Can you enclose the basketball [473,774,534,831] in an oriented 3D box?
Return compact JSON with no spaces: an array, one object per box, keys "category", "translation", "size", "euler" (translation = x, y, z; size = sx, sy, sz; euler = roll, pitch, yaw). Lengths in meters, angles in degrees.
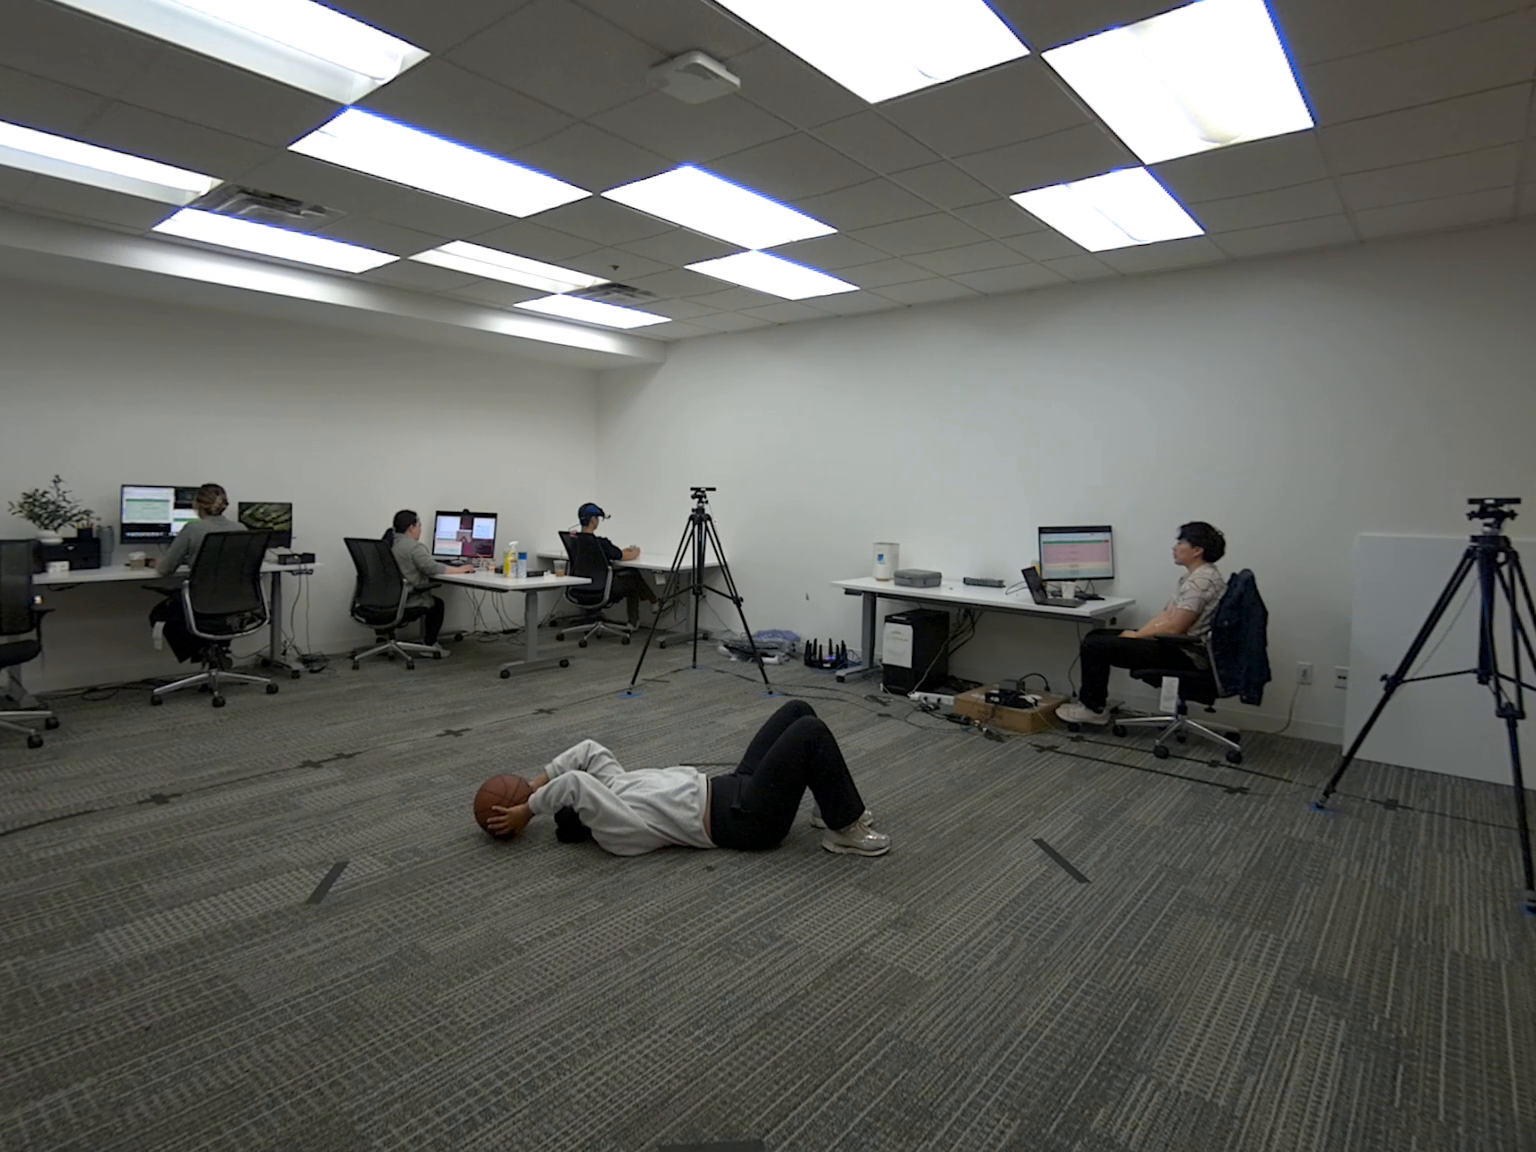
[{"category":"basketball","translation":[-1.058,0.898,3.367],"size":[0.235,0.235,0.237],"euler":[1,4,-2]}]
